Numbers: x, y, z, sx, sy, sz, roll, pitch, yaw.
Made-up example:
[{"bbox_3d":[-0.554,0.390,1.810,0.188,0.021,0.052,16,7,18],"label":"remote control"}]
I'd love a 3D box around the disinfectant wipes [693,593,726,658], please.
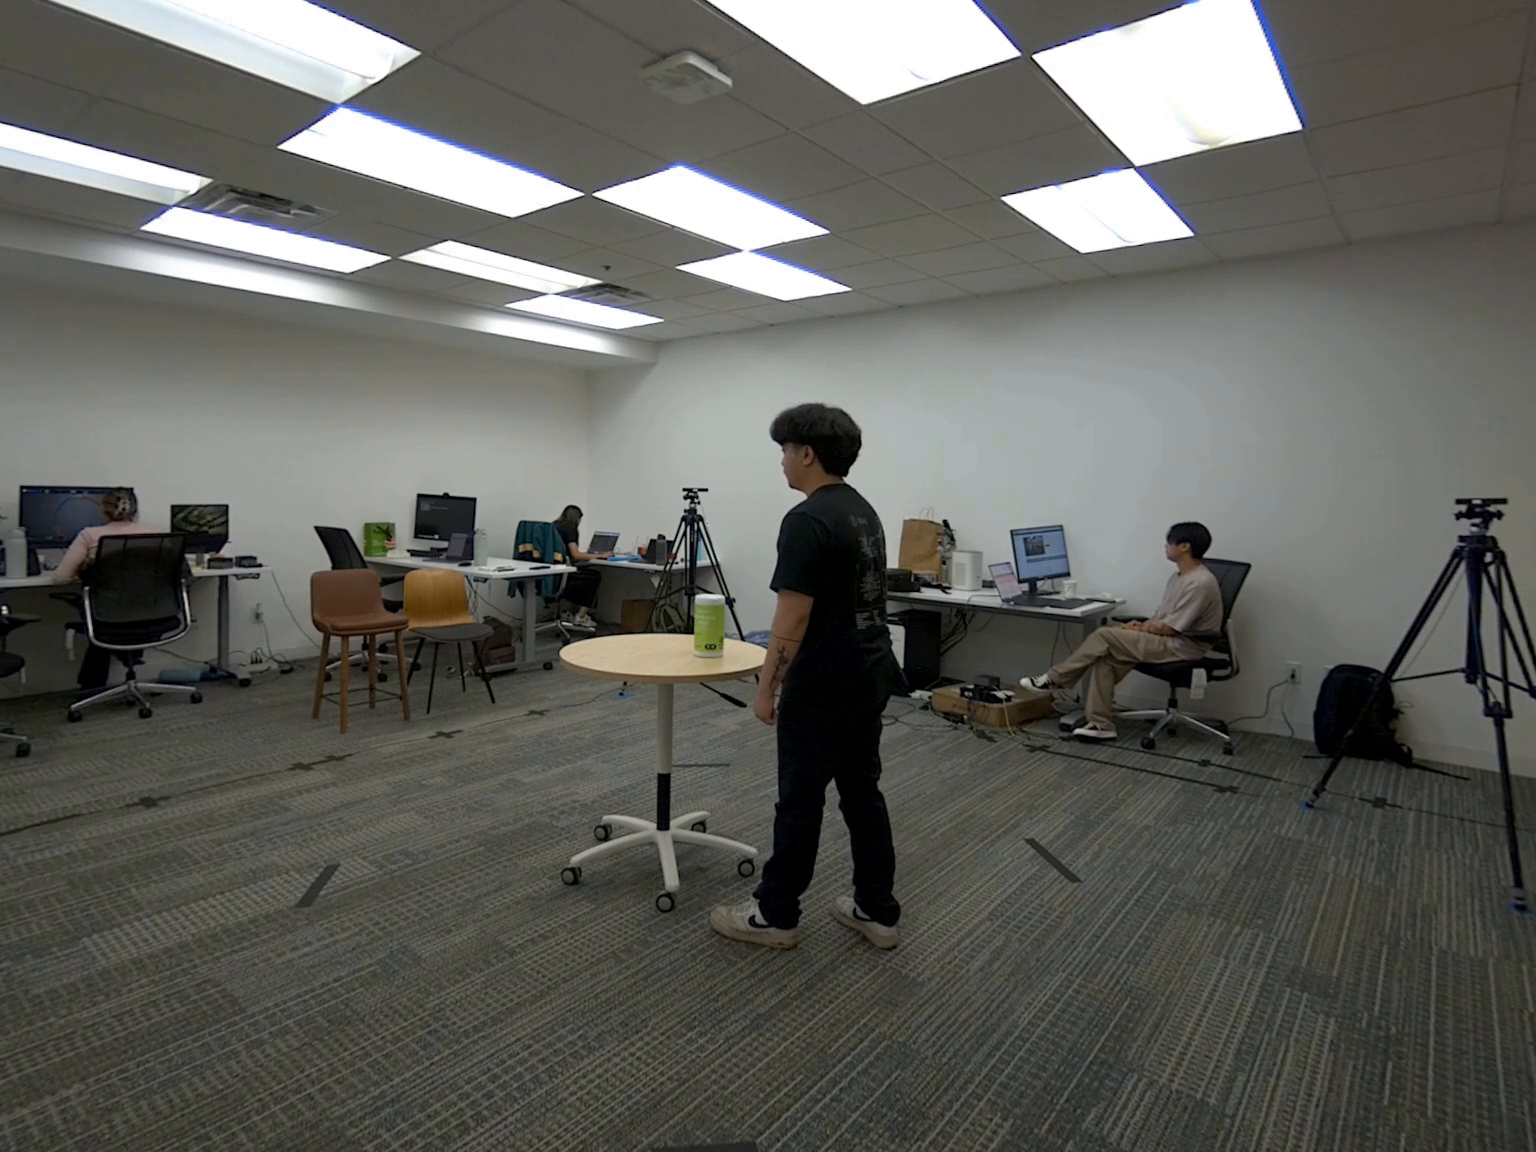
[{"bbox_3d":[-0.221,0.176,3.052,0.117,0.216,0.118,1,5,-2],"label":"disinfectant wipes"}]
